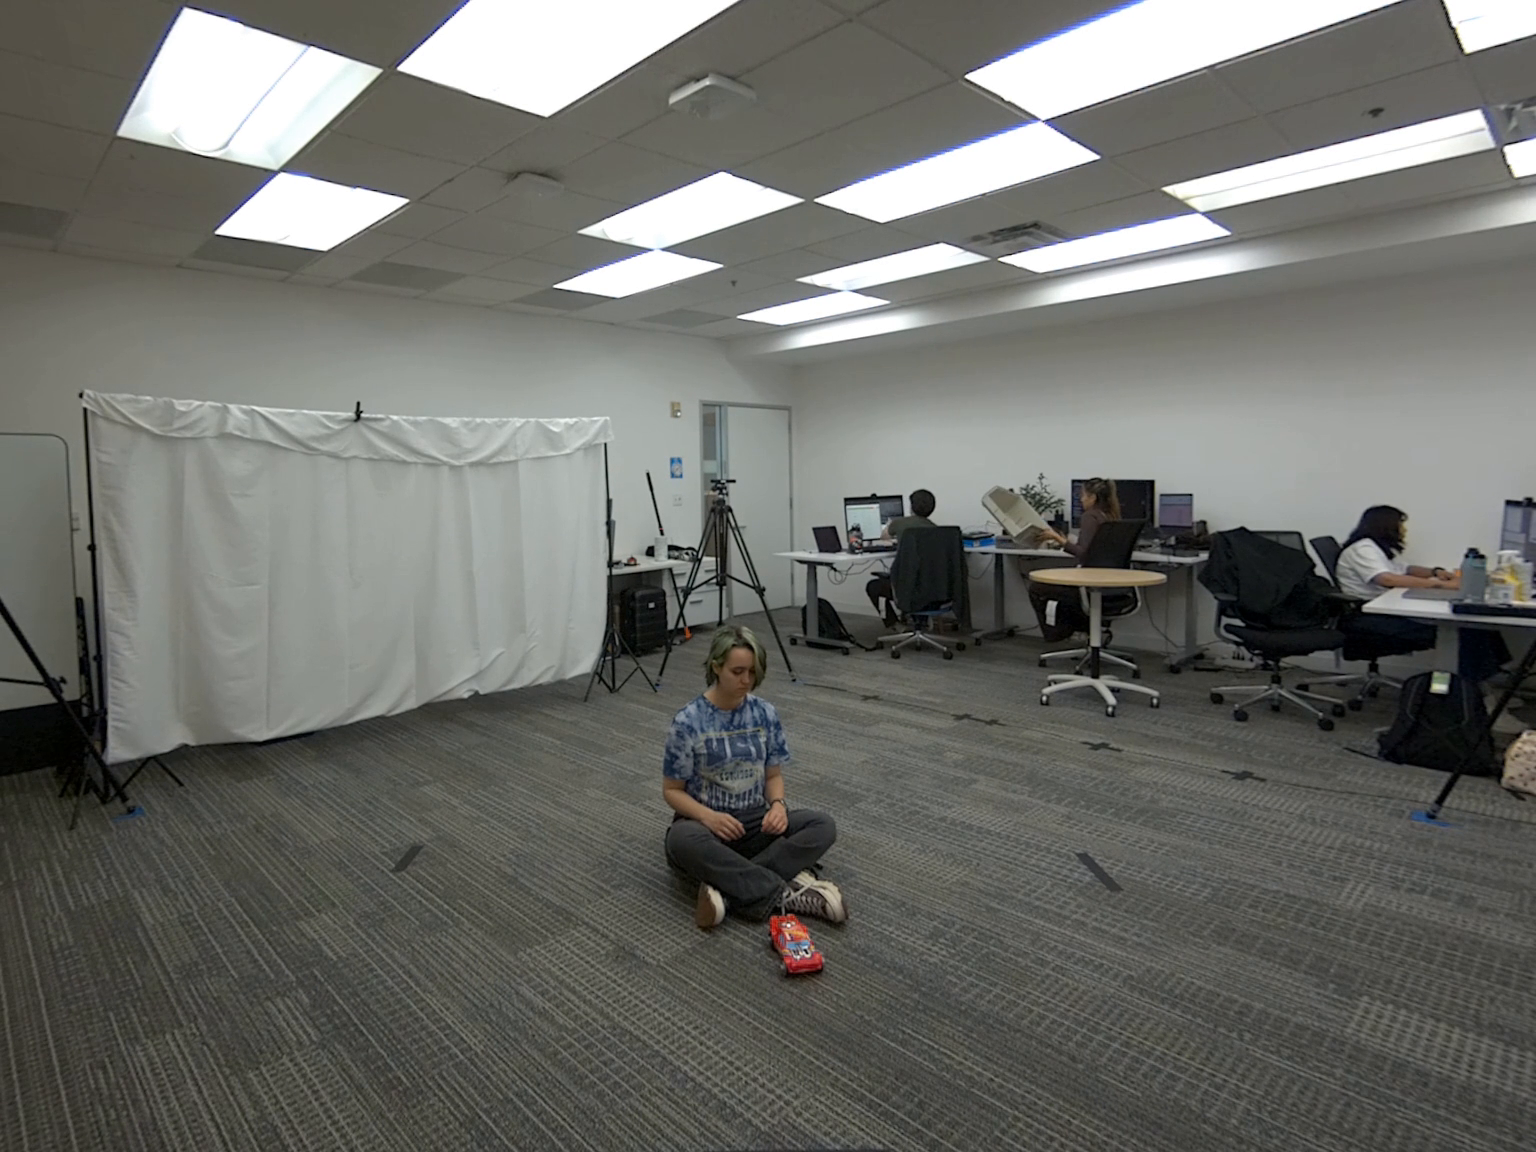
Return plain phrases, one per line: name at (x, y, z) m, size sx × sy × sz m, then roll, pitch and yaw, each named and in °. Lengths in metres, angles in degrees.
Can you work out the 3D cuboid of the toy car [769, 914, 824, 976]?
toy car at (0.074, 1.084, 2.506) m, size 0.129 × 0.082 × 0.261 m, roll -4°, pitch 17°, yaw -13°
